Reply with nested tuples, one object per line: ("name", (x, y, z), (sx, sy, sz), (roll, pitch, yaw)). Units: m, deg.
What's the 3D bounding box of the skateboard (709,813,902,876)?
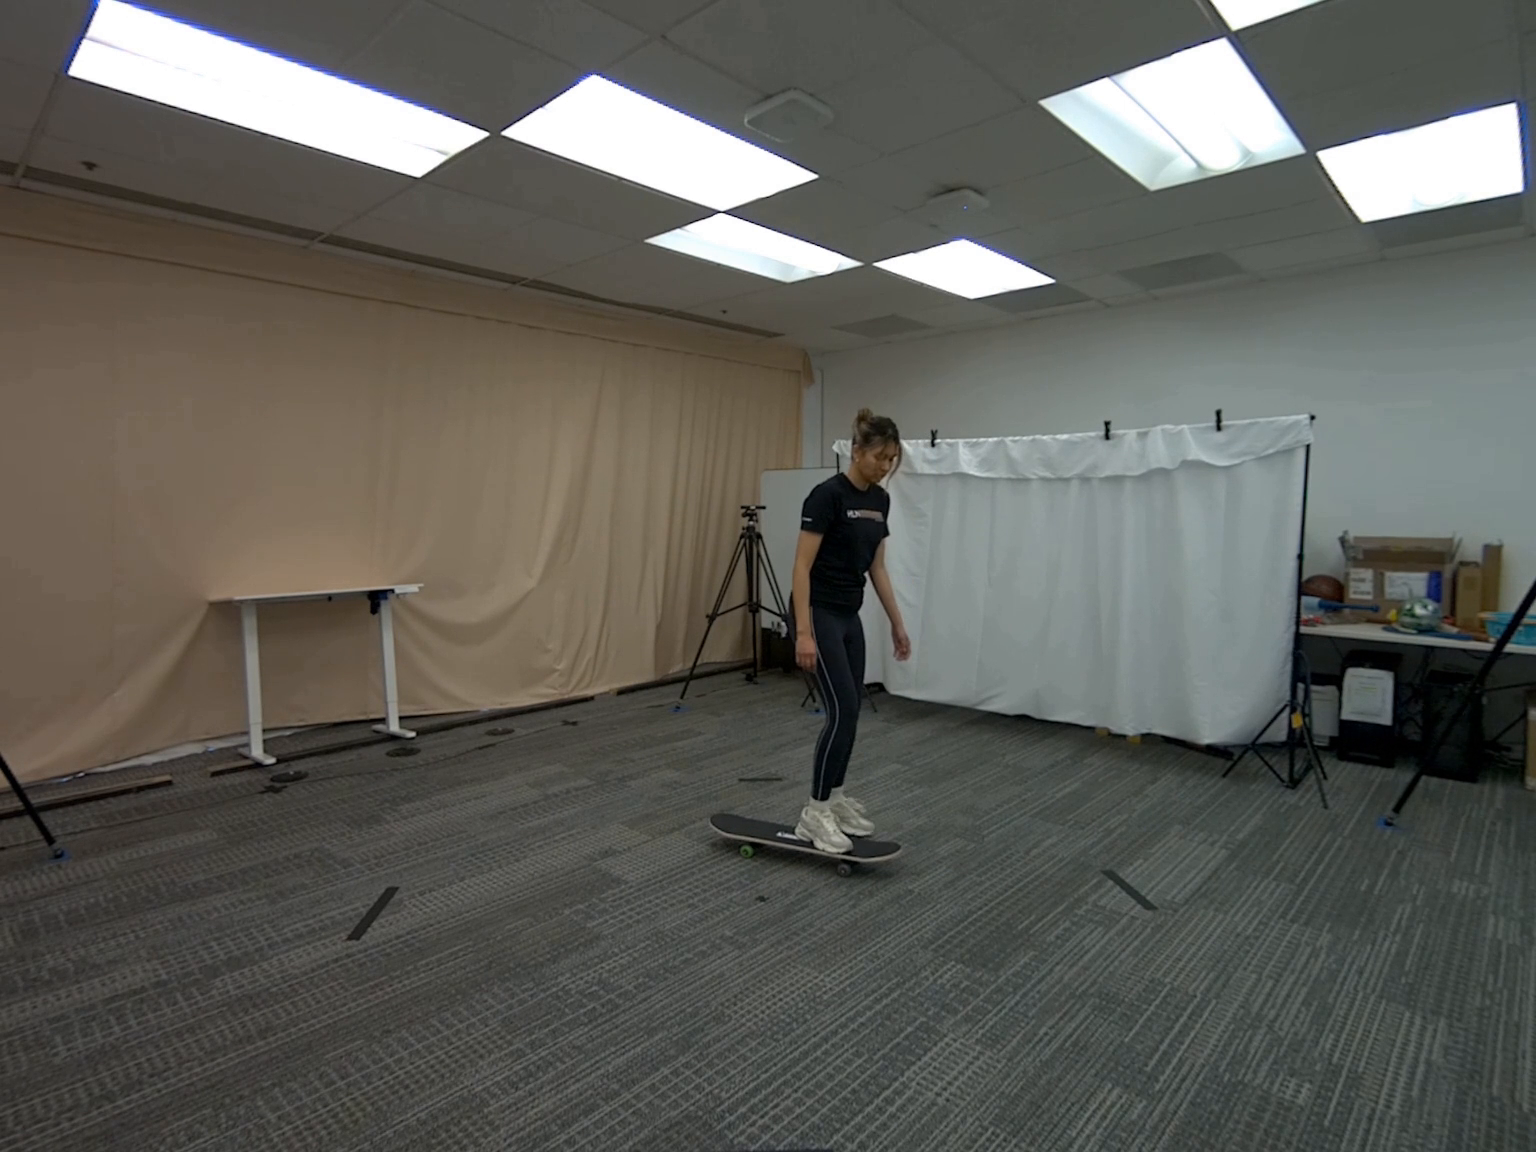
("skateboard", (0.132, 1.061, 3.315), (0.805, 0.110, 0.189), (2, 6, 25))
